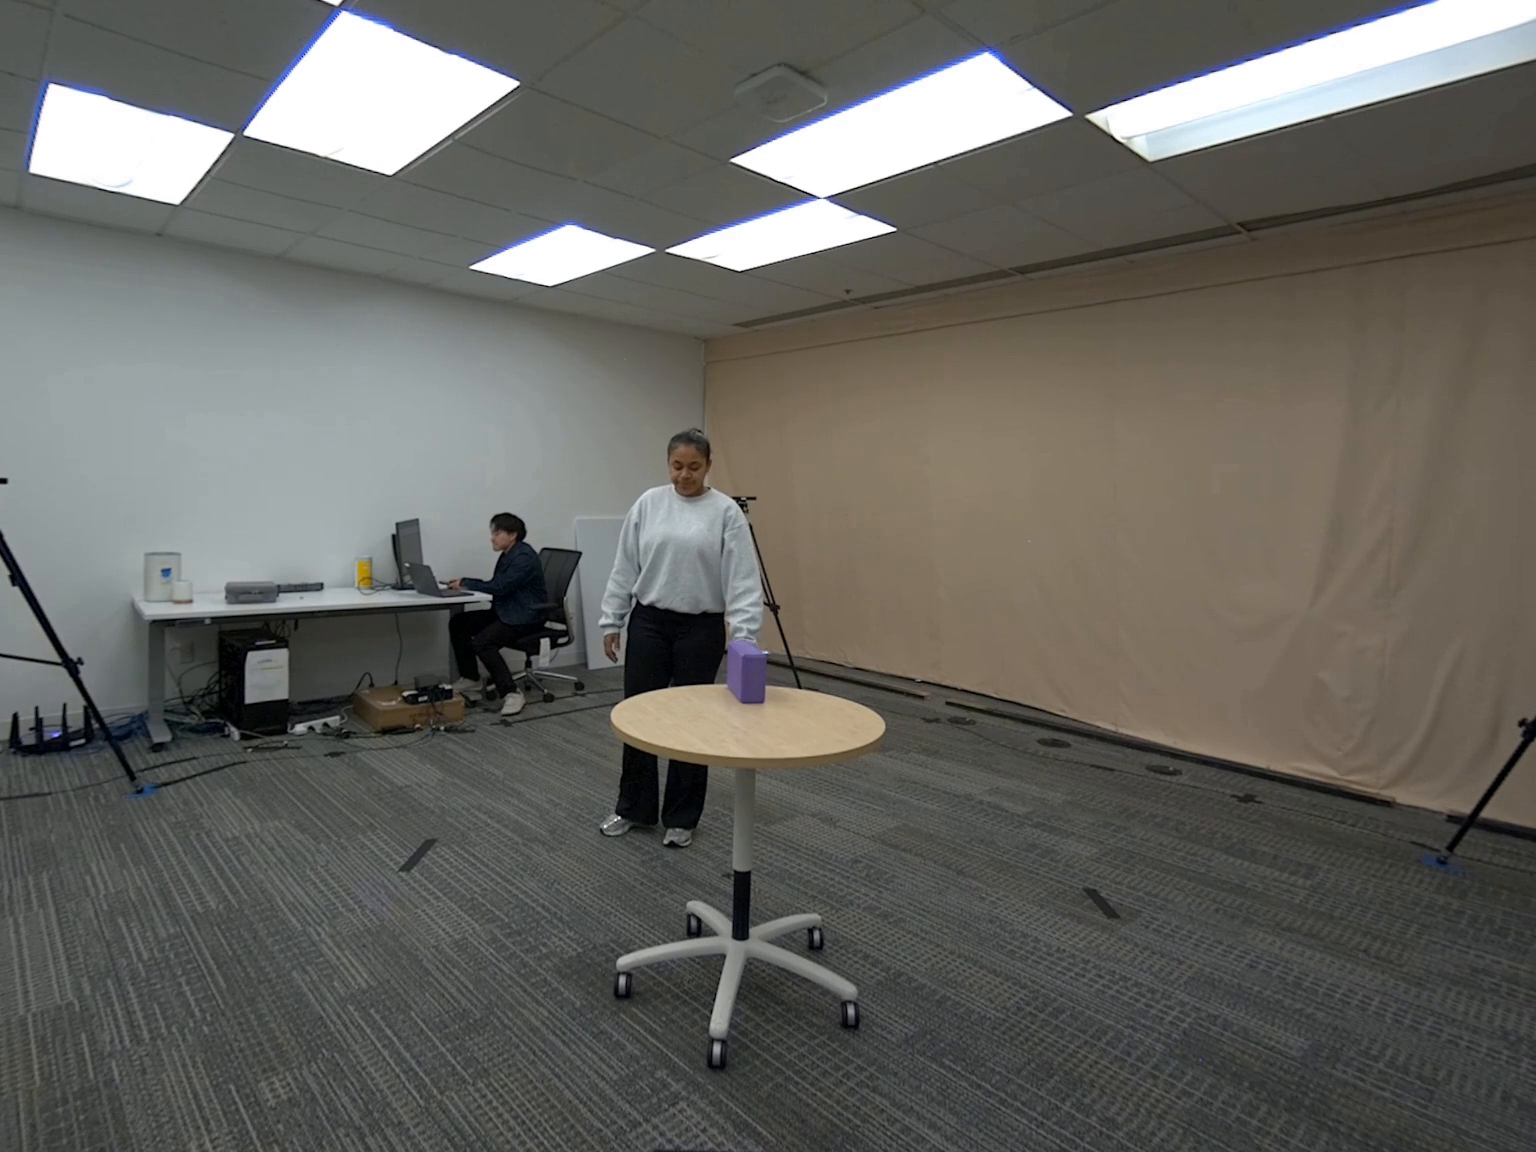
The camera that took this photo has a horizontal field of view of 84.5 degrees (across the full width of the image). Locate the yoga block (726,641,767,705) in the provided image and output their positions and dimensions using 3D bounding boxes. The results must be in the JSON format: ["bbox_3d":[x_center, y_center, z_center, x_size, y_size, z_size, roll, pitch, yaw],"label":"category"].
[{"bbox_3d":[-0.083,0.294,2.600,0.076,0.148,0.232,0,6,-11],"label":"yoga block"}]
